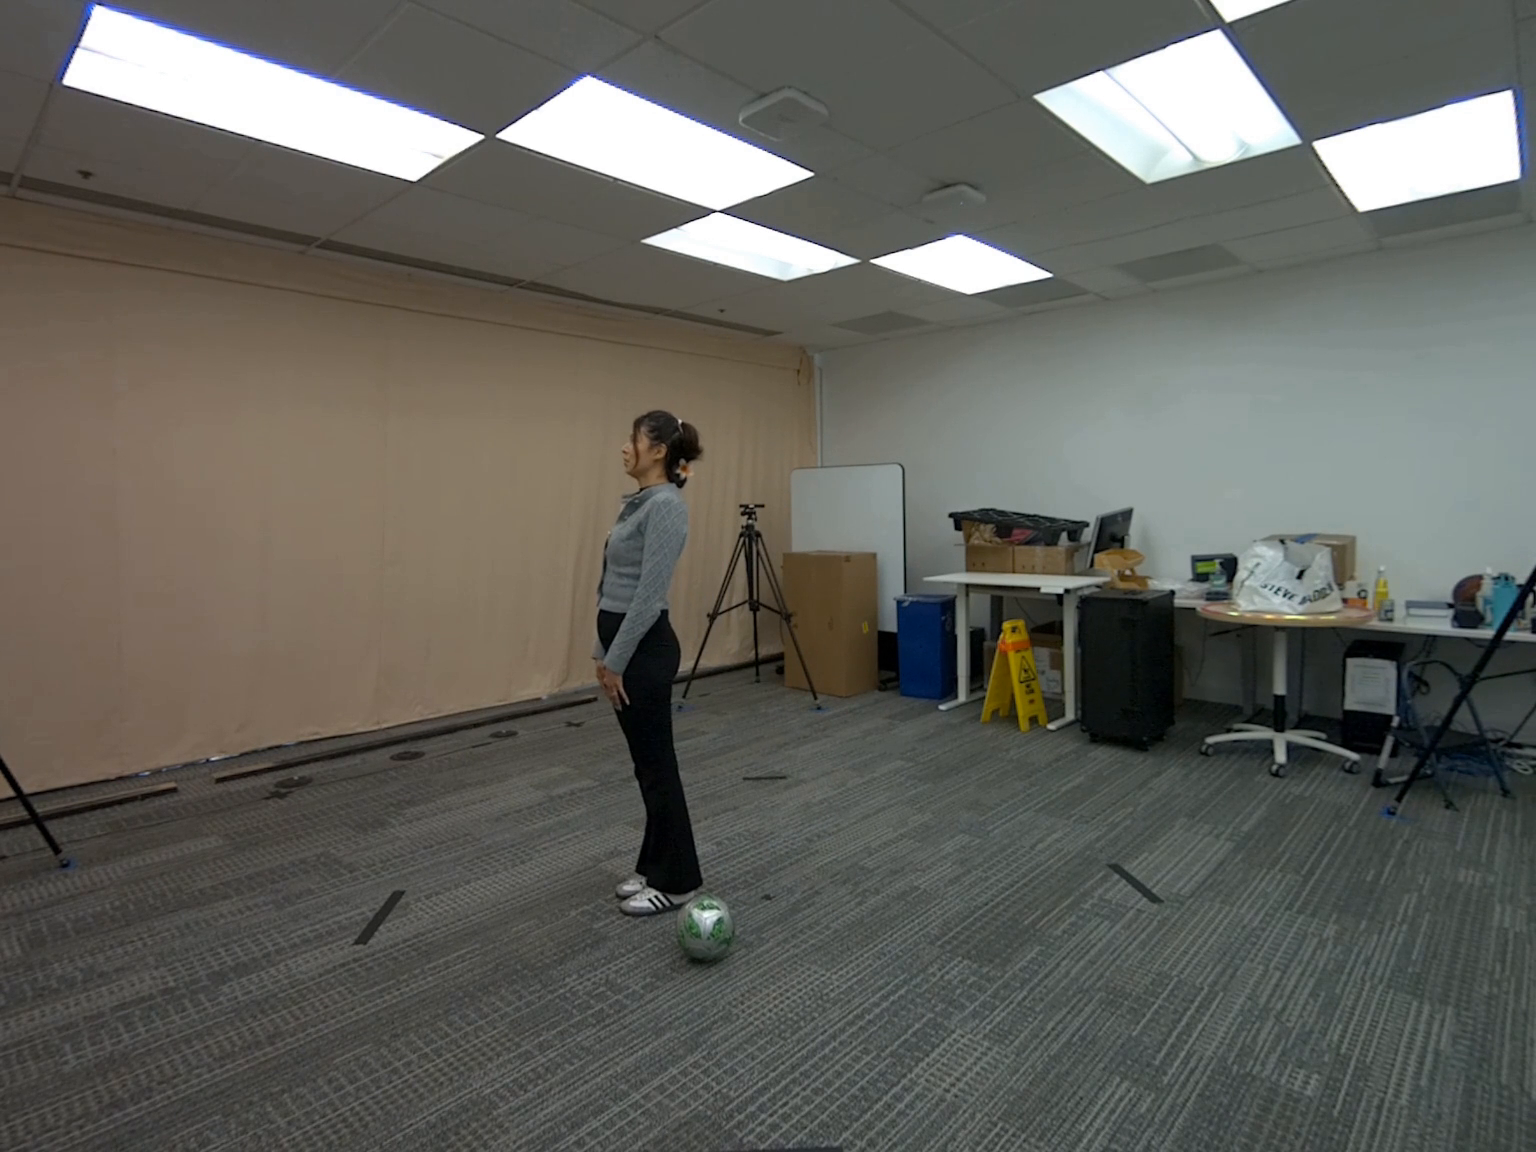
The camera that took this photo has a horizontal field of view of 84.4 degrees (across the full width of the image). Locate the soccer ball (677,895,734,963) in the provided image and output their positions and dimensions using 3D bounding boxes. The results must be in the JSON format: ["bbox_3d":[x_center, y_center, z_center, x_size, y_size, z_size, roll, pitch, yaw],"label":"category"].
[{"bbox_3d":[-0.191,1.087,2.588,0.187,0.187,0.188,-1,4,-2],"label":"soccer ball"}]
